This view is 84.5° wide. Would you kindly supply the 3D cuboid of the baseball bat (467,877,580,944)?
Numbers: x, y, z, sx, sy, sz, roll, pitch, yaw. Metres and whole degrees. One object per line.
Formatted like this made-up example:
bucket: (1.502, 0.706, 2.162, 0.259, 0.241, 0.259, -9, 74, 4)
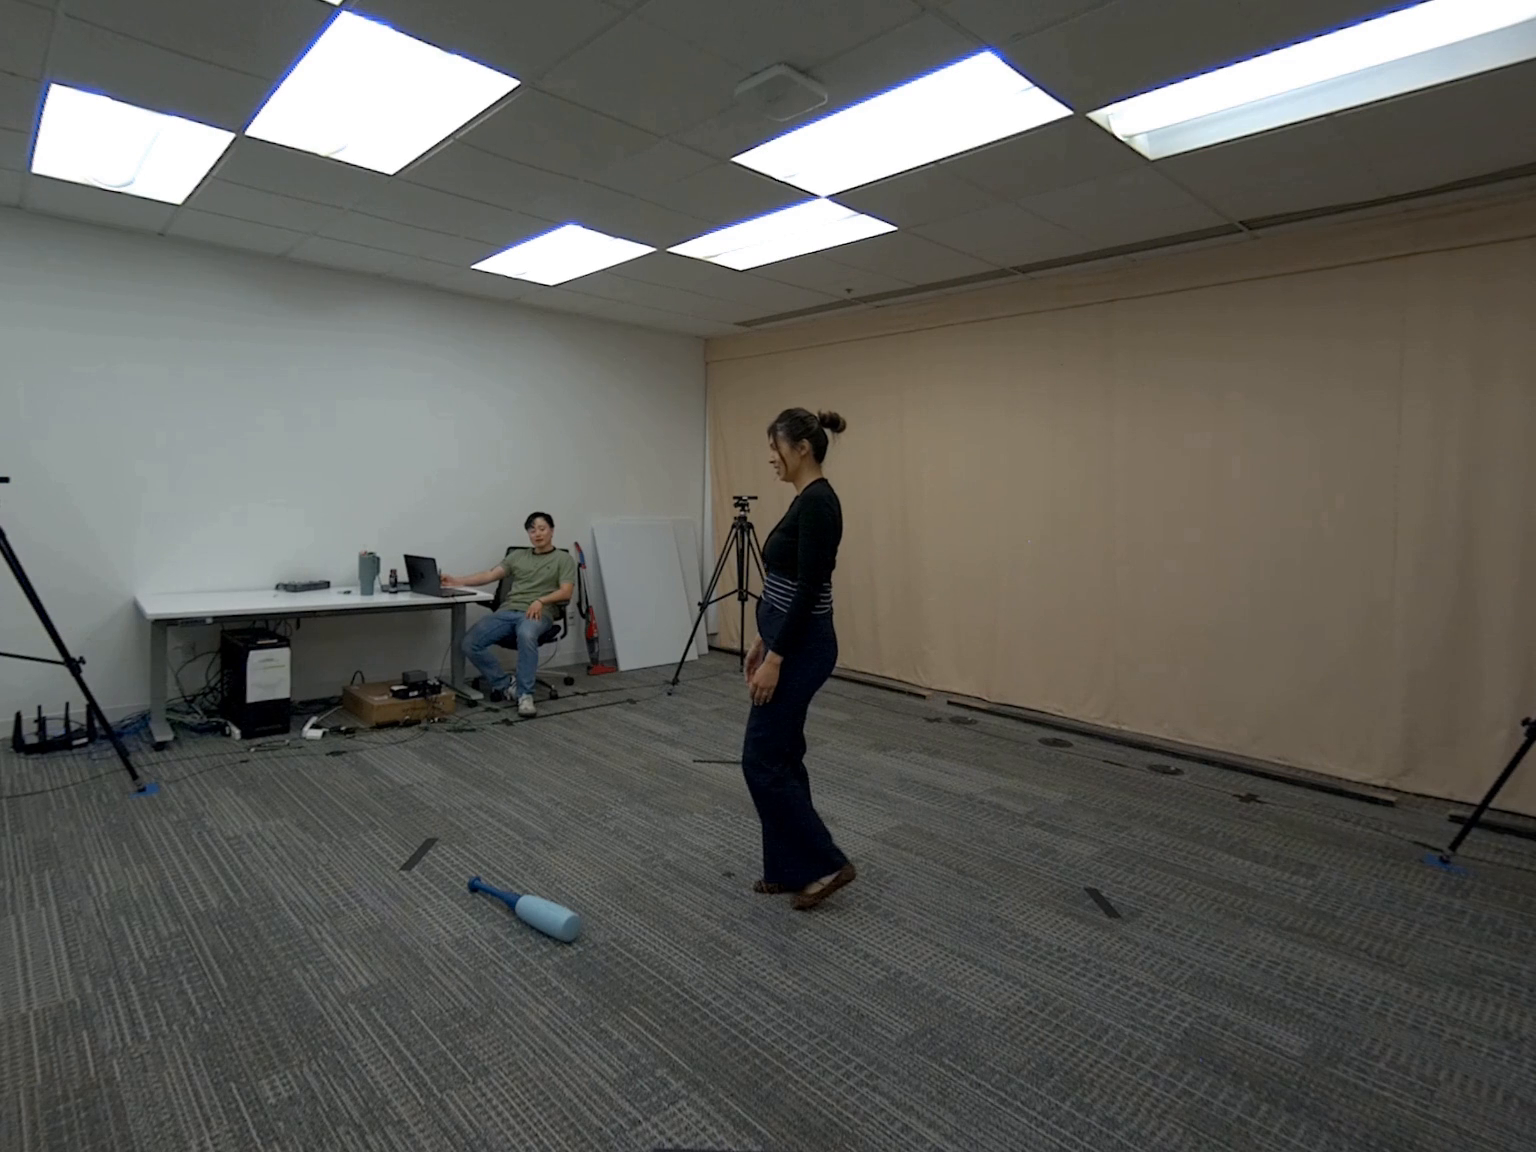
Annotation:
baseball bat: (-0.826, 1.084, 2.763, 0.556, 0.089, 0.087, 2, 4, 39)
